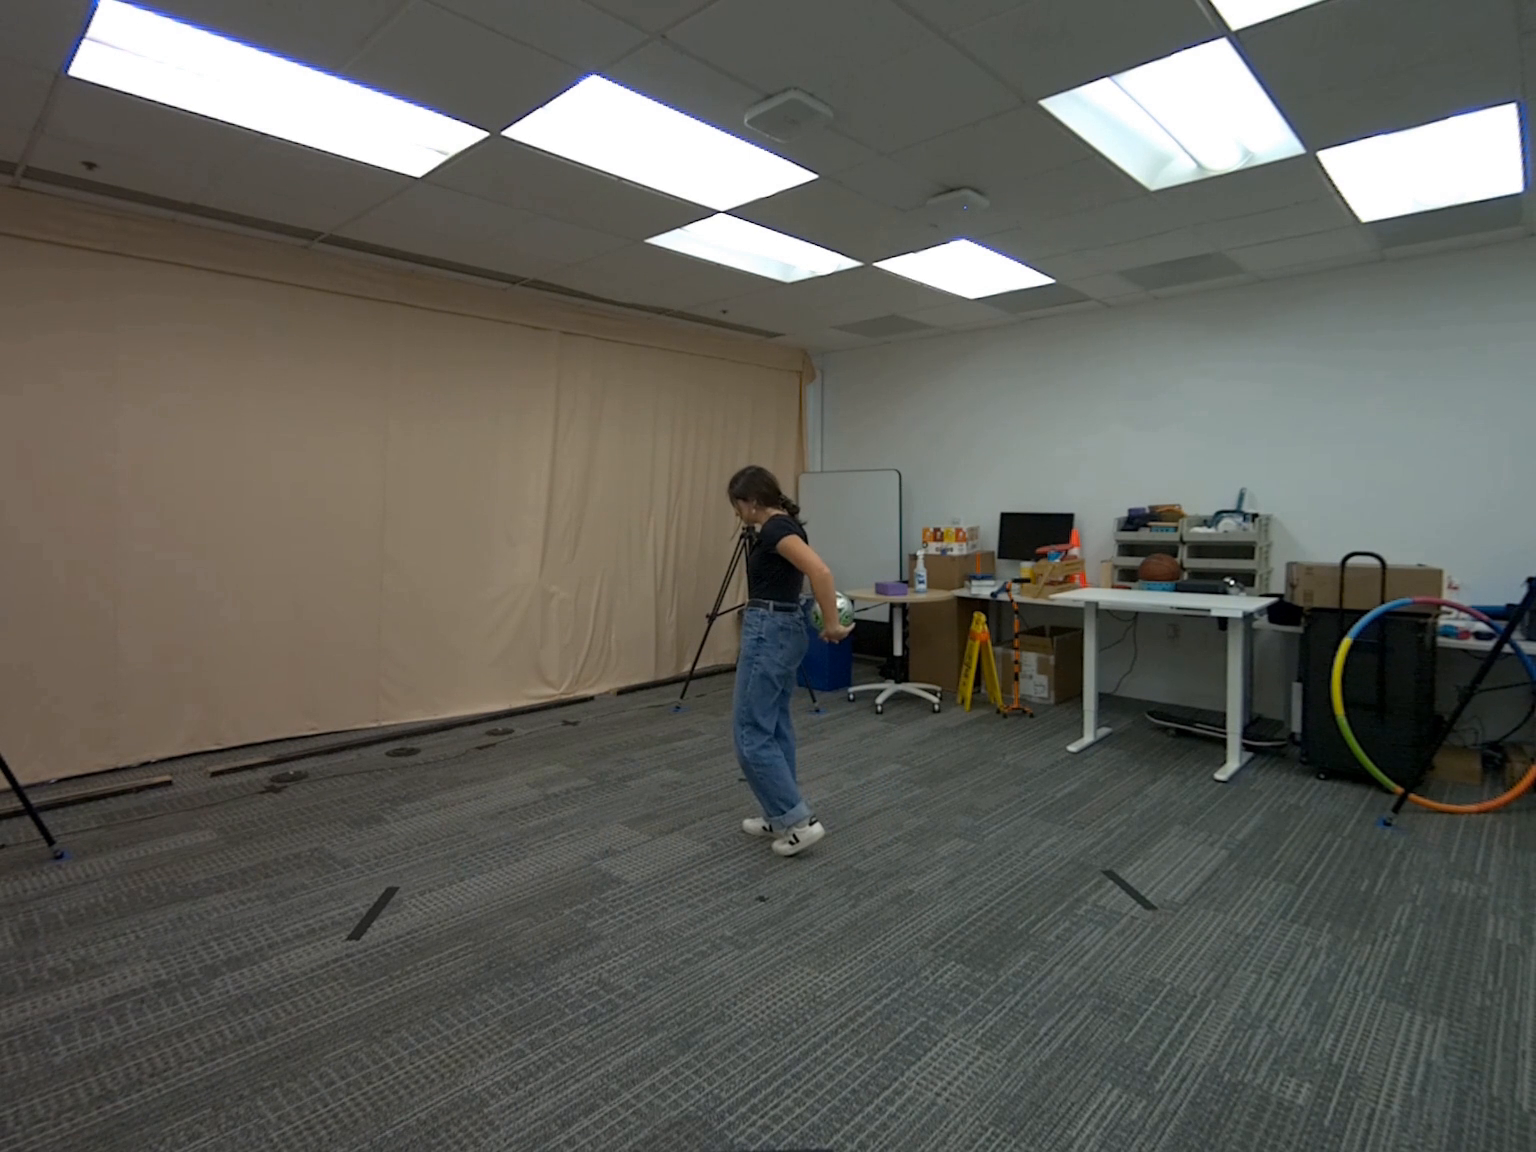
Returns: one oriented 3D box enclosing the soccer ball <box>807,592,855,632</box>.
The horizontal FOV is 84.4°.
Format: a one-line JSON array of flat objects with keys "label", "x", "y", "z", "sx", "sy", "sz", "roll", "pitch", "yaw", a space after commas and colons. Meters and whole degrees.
[{"label": "soccer ball", "x": 0.252, "y": 0.162, "z": 3.381, "sx": 0.187, "sy": 0.187, "sz": 0.188, "roll": 0, "pitch": 4, "yaw": -2}]
